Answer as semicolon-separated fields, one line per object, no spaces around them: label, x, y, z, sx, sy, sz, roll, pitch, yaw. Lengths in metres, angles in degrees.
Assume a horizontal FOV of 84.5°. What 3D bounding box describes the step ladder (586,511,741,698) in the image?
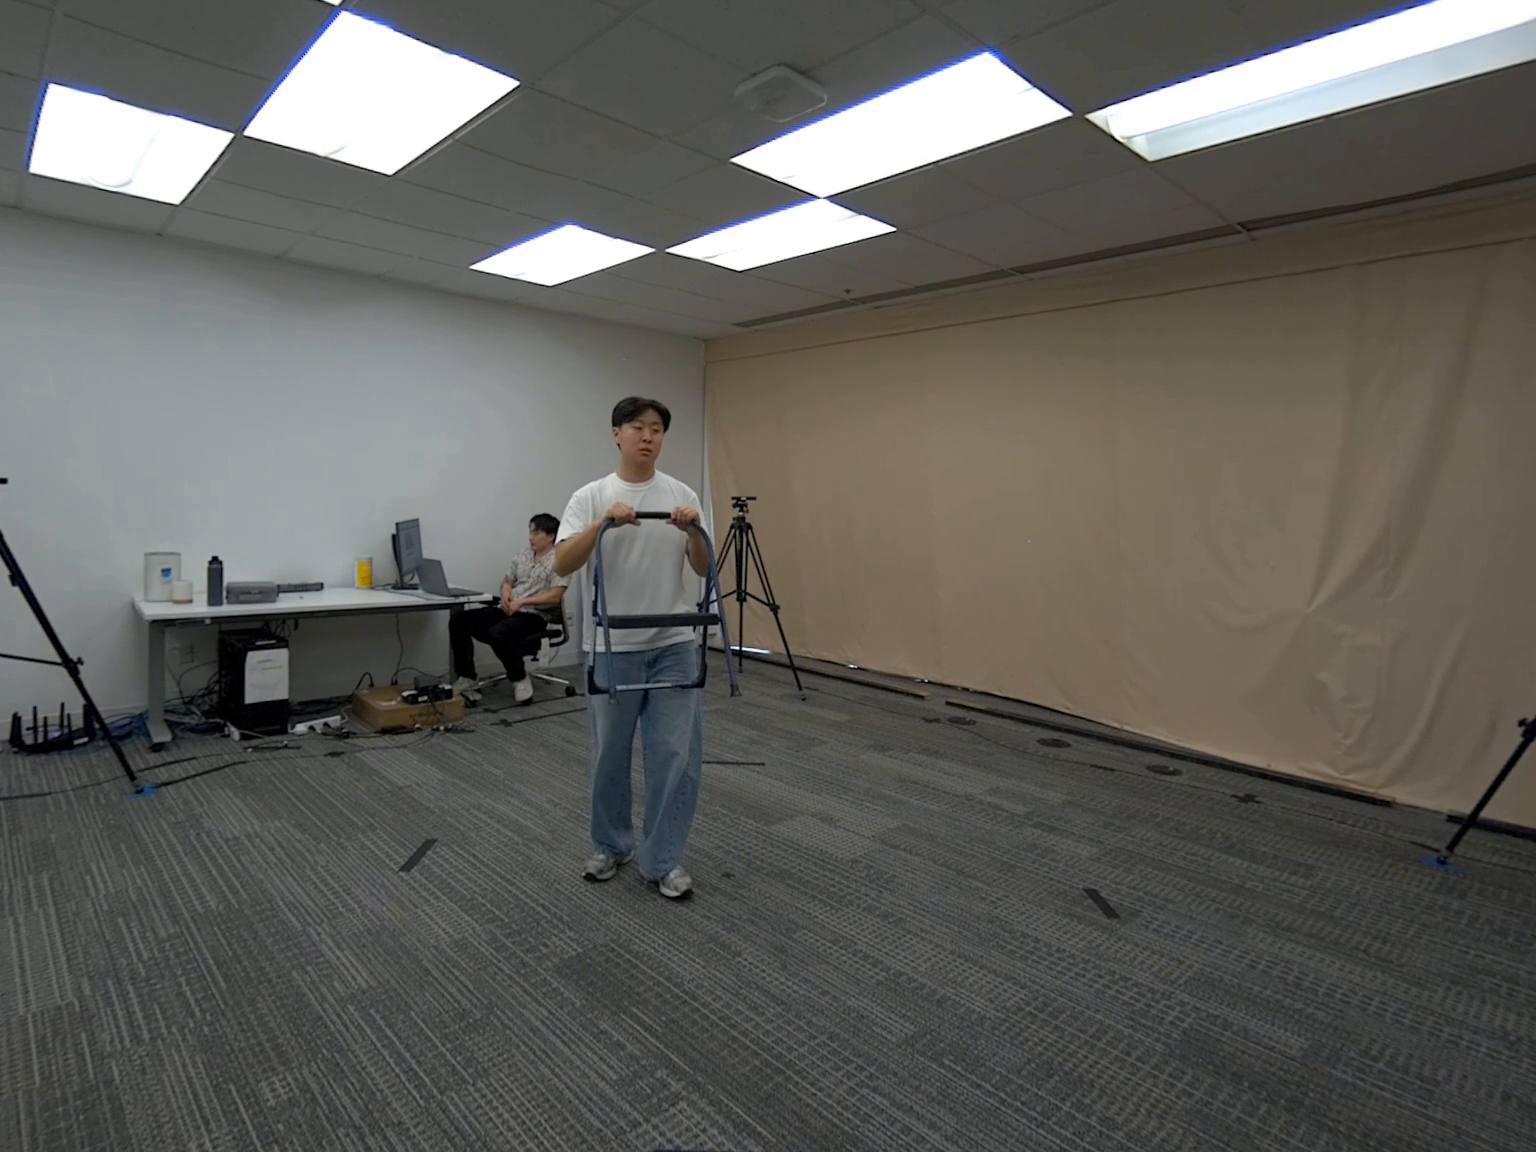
step ladder;-0.364;0.086;2.756;0.423;0.608;0.354;-1;-5;-23
